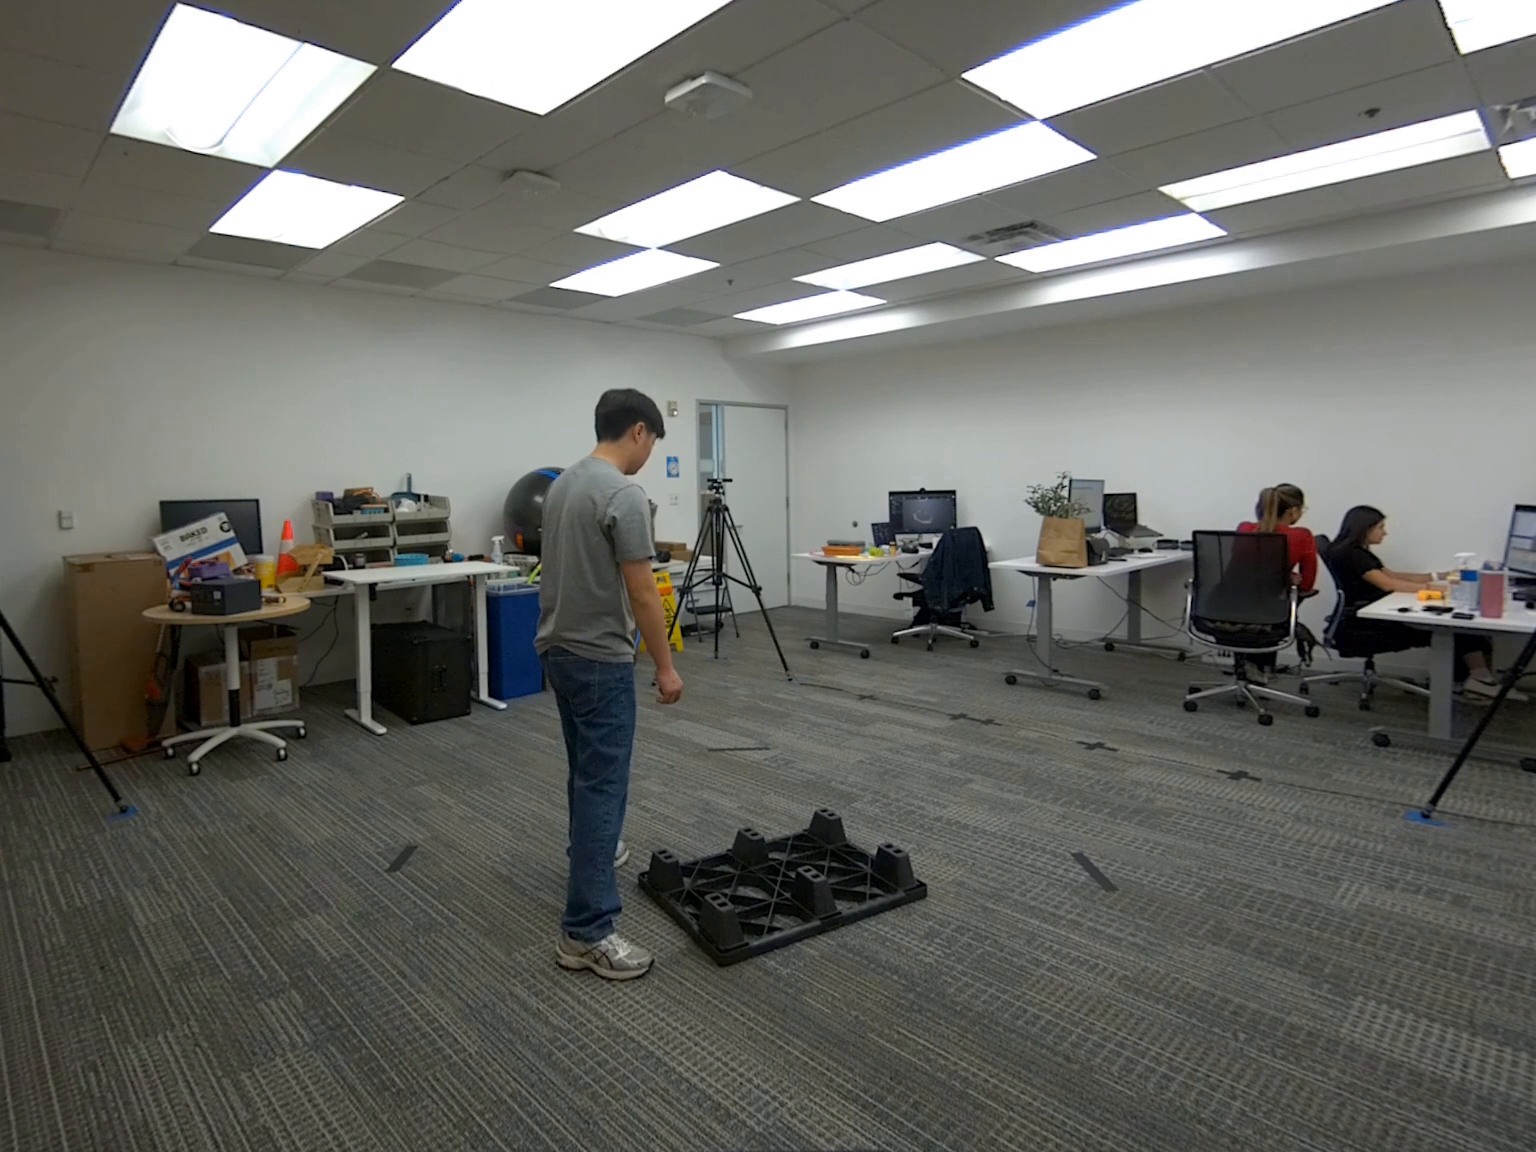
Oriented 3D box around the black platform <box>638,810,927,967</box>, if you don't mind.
[{"bbox_3d":[0.045,1.002,2.898,0.786,0.142,0.623,-5,8,-32],"label":"black platform"}]
